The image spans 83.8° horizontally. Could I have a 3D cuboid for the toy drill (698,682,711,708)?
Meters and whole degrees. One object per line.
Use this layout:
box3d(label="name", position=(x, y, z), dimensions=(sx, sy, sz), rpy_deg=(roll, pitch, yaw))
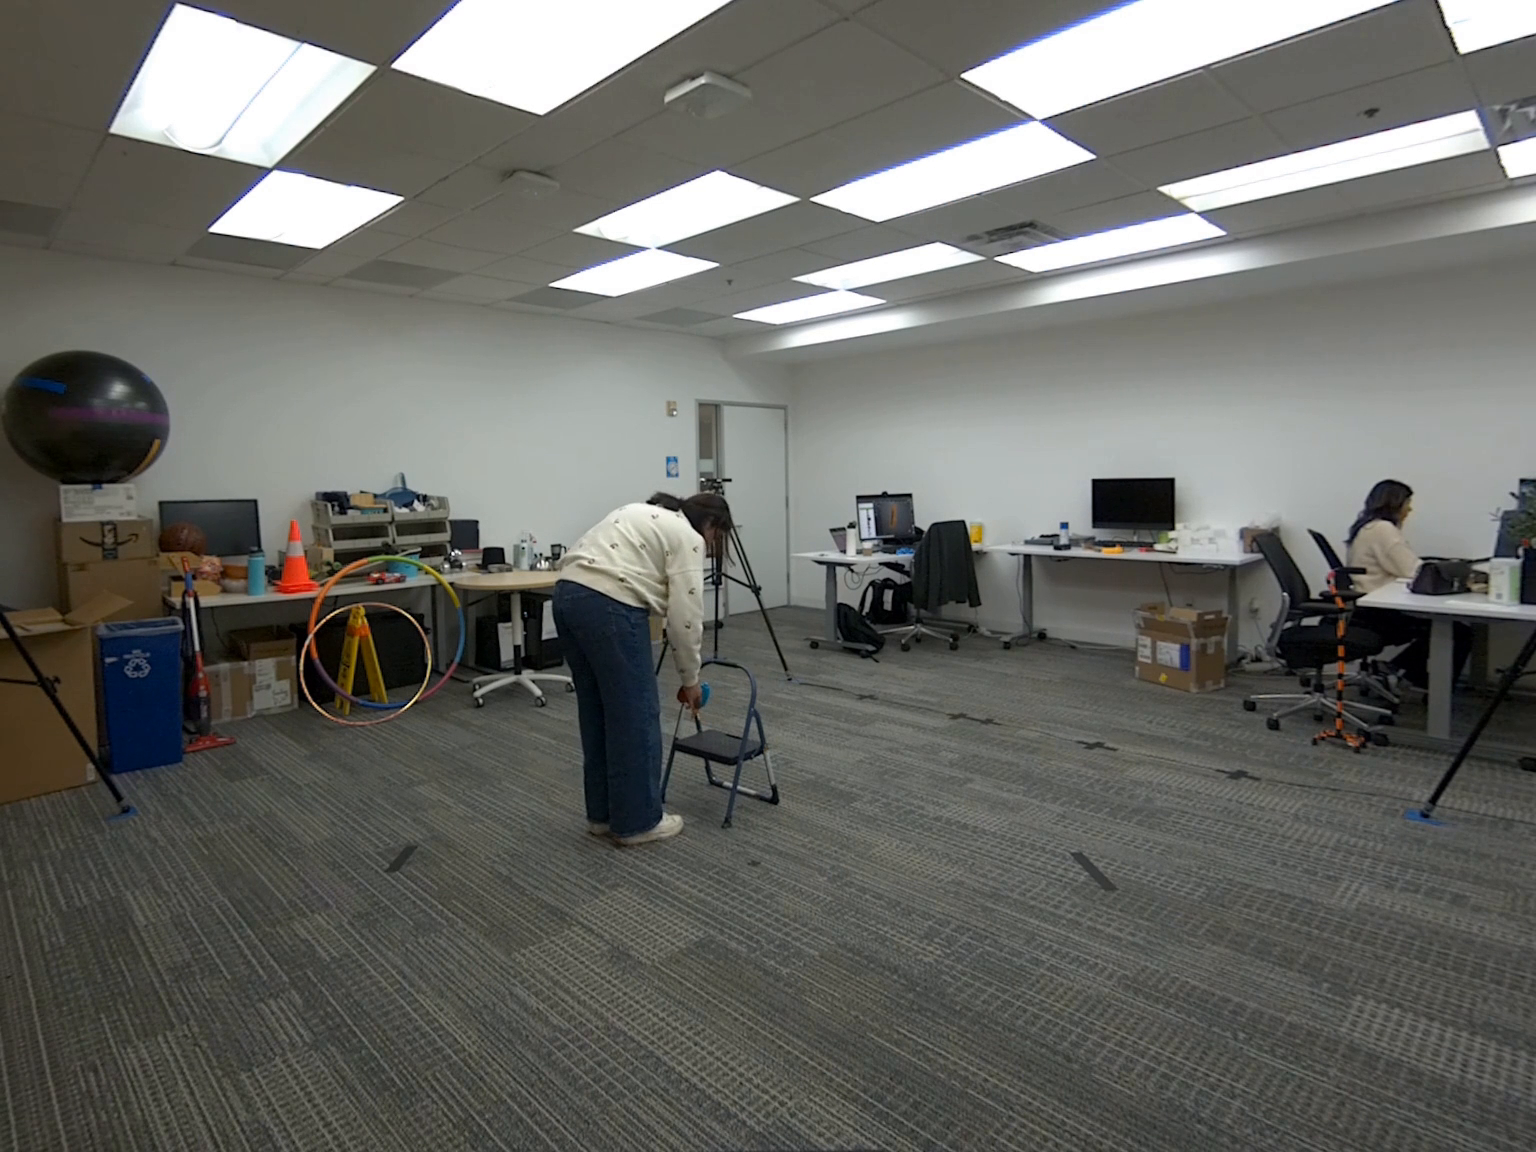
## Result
box3d(label="toy drill", position=(-0.306, 0.511, 3.473), dimensions=(0.063, 0.168, 0.142), rpy_deg=(22, 15, 40))
